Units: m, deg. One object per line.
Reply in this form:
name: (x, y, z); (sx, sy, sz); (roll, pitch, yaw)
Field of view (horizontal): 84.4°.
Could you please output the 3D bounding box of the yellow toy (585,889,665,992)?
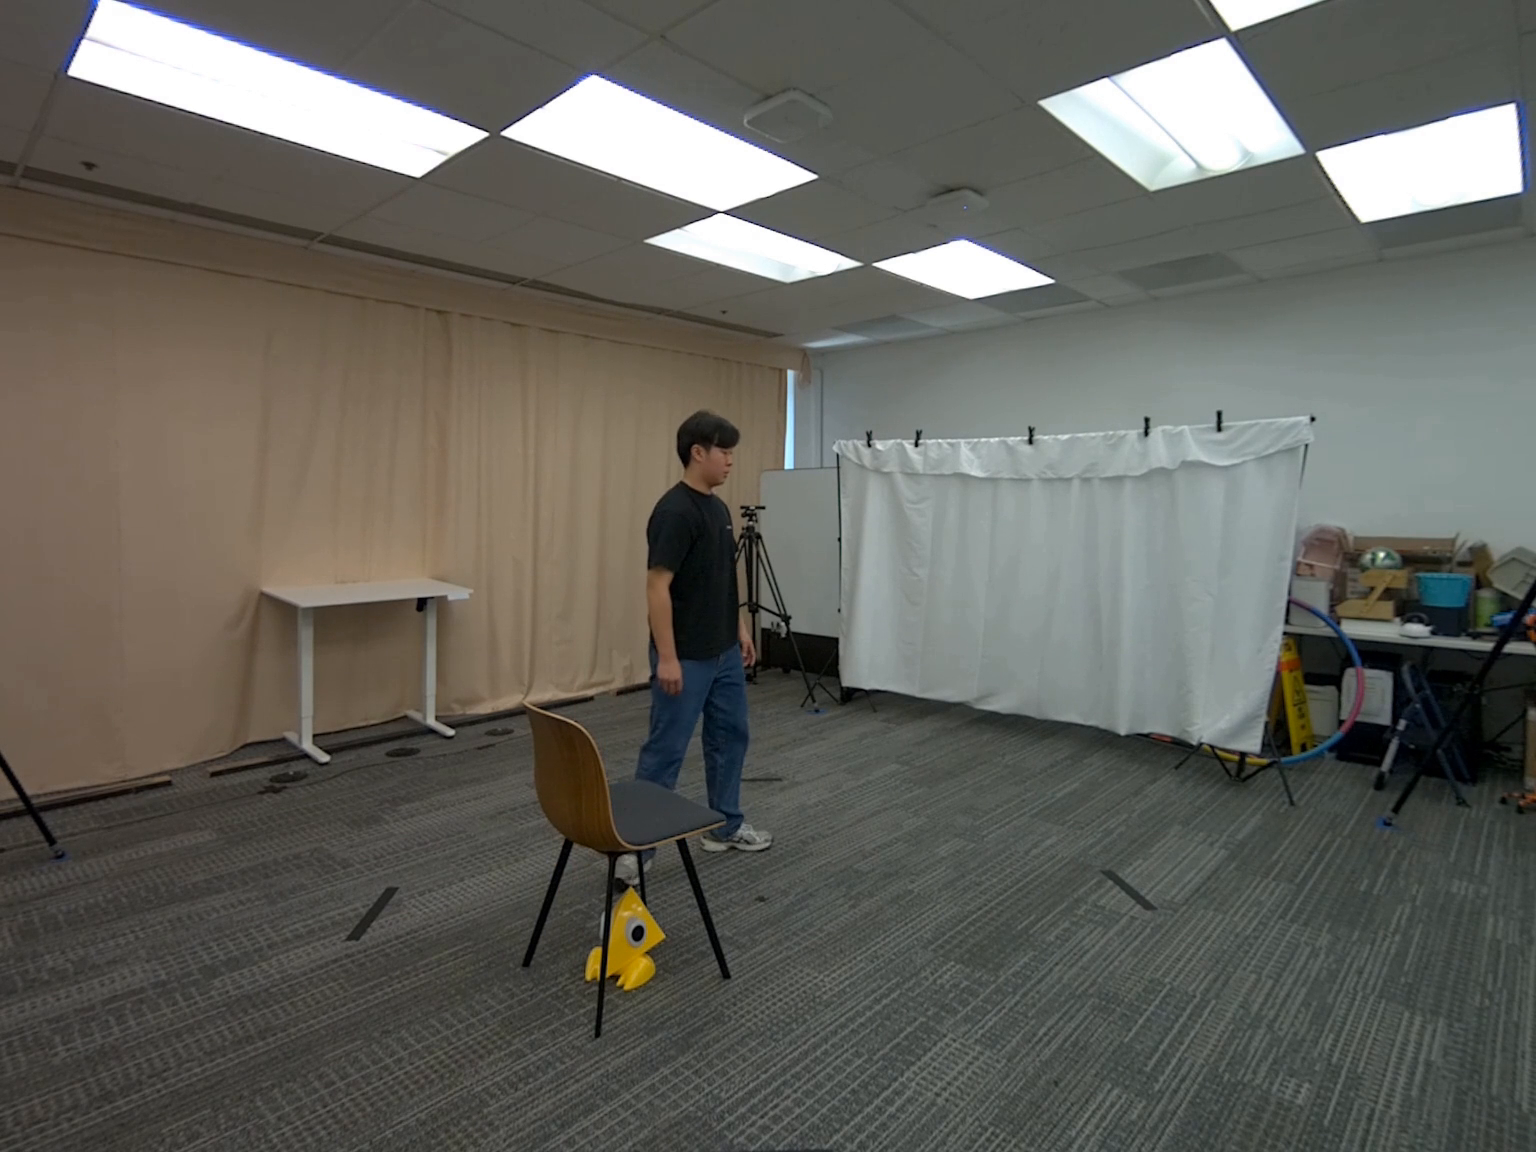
yellow toy: (-0.437, 1.077, 2.520); (0.210, 0.230, 0.189); (0, 4, 23)
